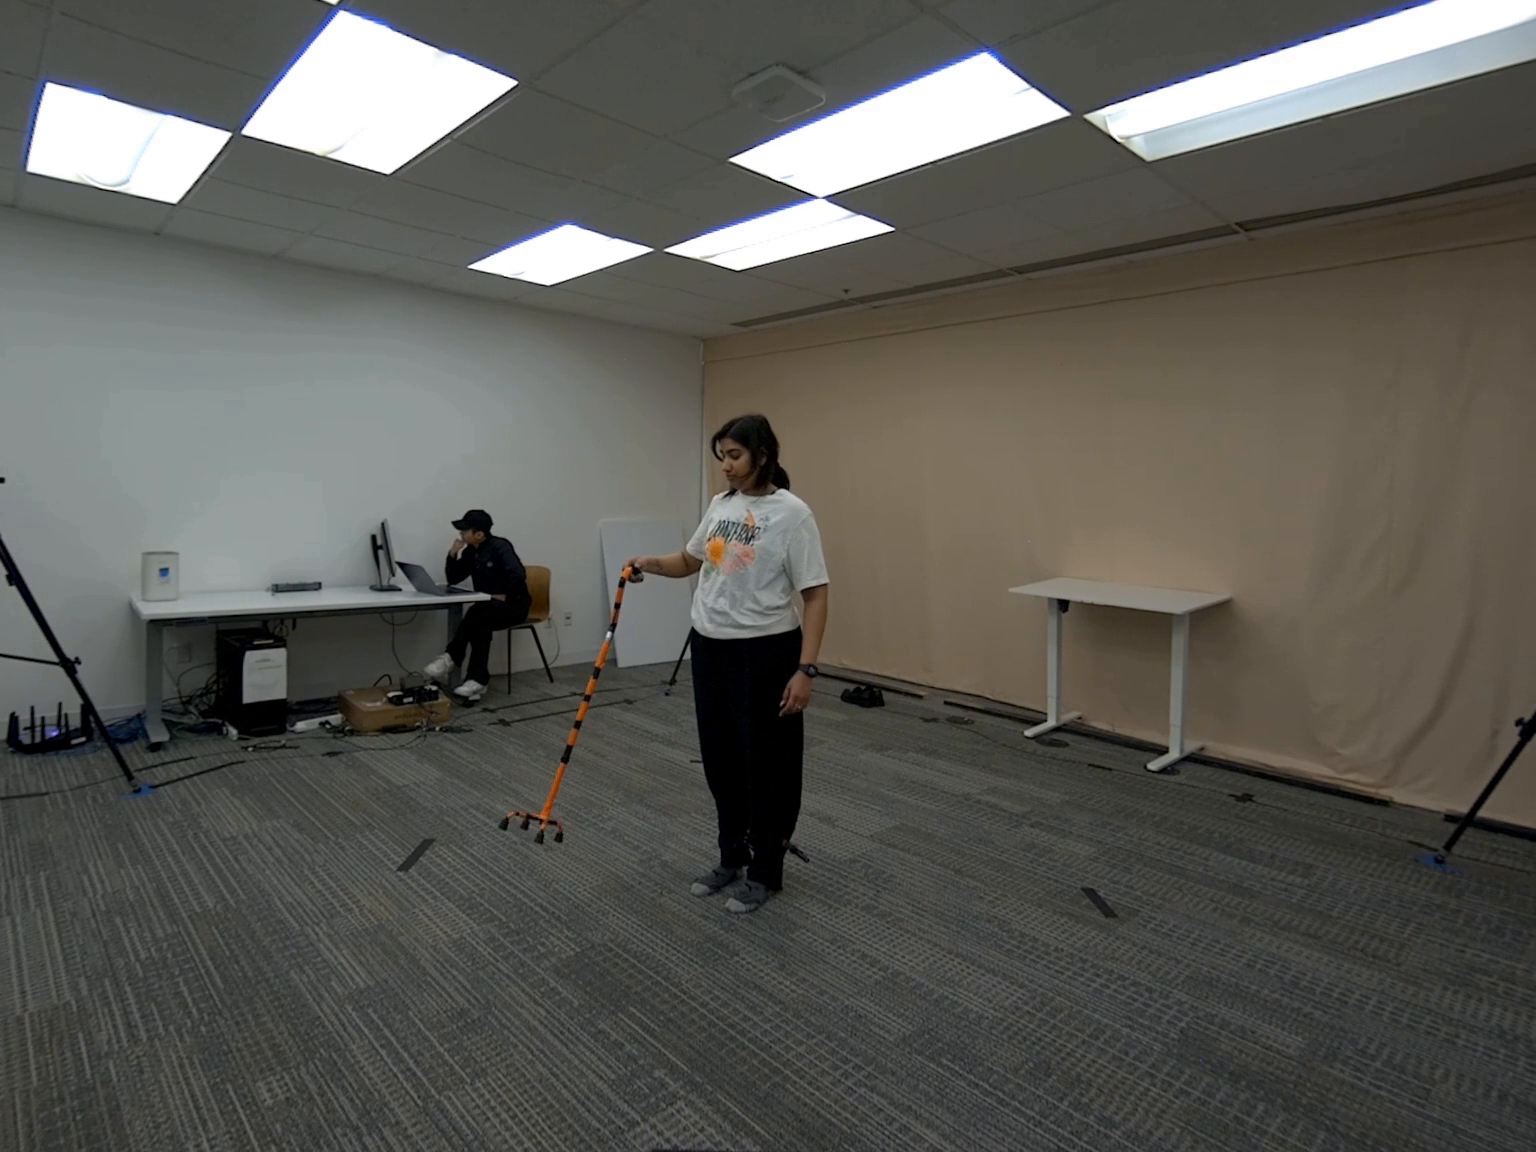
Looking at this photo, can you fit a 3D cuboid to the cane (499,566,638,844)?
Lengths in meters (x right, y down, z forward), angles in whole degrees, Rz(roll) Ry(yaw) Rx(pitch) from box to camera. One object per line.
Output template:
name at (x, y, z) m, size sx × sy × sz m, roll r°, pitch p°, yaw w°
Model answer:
cane at (-0.601, 0.407, 2.719) m, size 0.154 × 0.913 × 0.202 m, roll 15°, pitch -14°, yaw 13°
